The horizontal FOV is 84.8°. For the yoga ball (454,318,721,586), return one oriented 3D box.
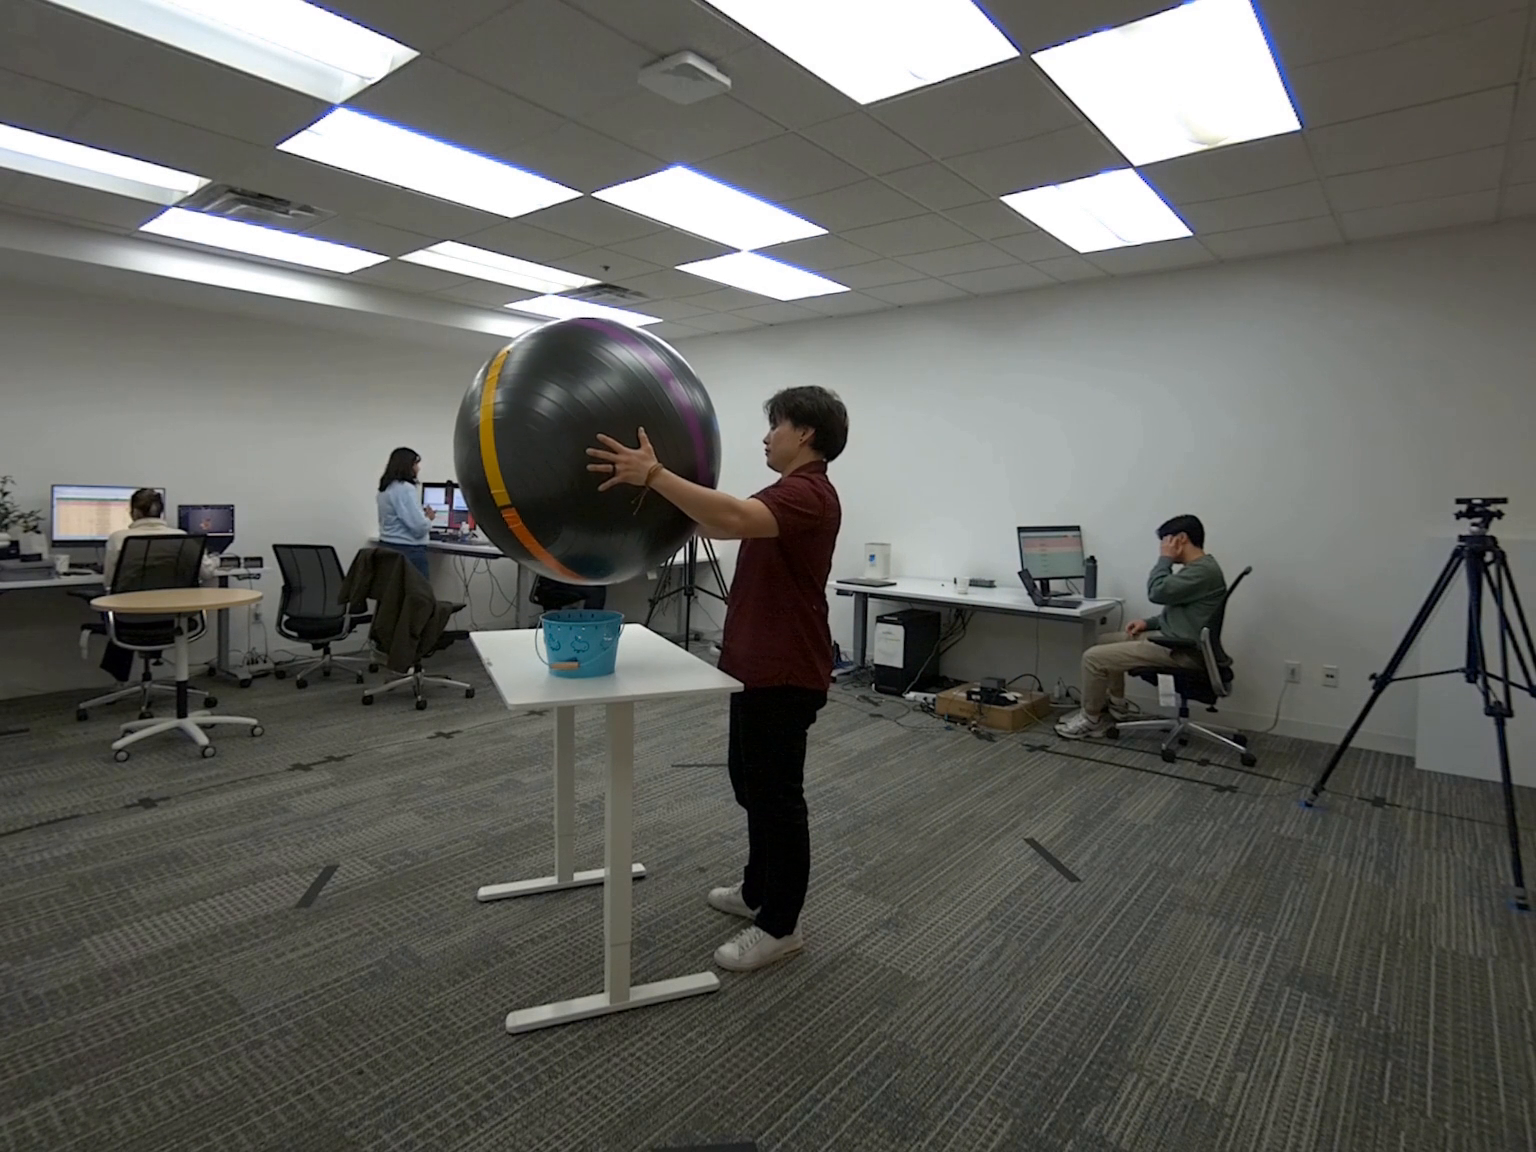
[{"bbox_3d":[-0.529,-0.349,2.439,0.757,0.756,0.762,1,4,-2],"label":"yoga ball"}]
